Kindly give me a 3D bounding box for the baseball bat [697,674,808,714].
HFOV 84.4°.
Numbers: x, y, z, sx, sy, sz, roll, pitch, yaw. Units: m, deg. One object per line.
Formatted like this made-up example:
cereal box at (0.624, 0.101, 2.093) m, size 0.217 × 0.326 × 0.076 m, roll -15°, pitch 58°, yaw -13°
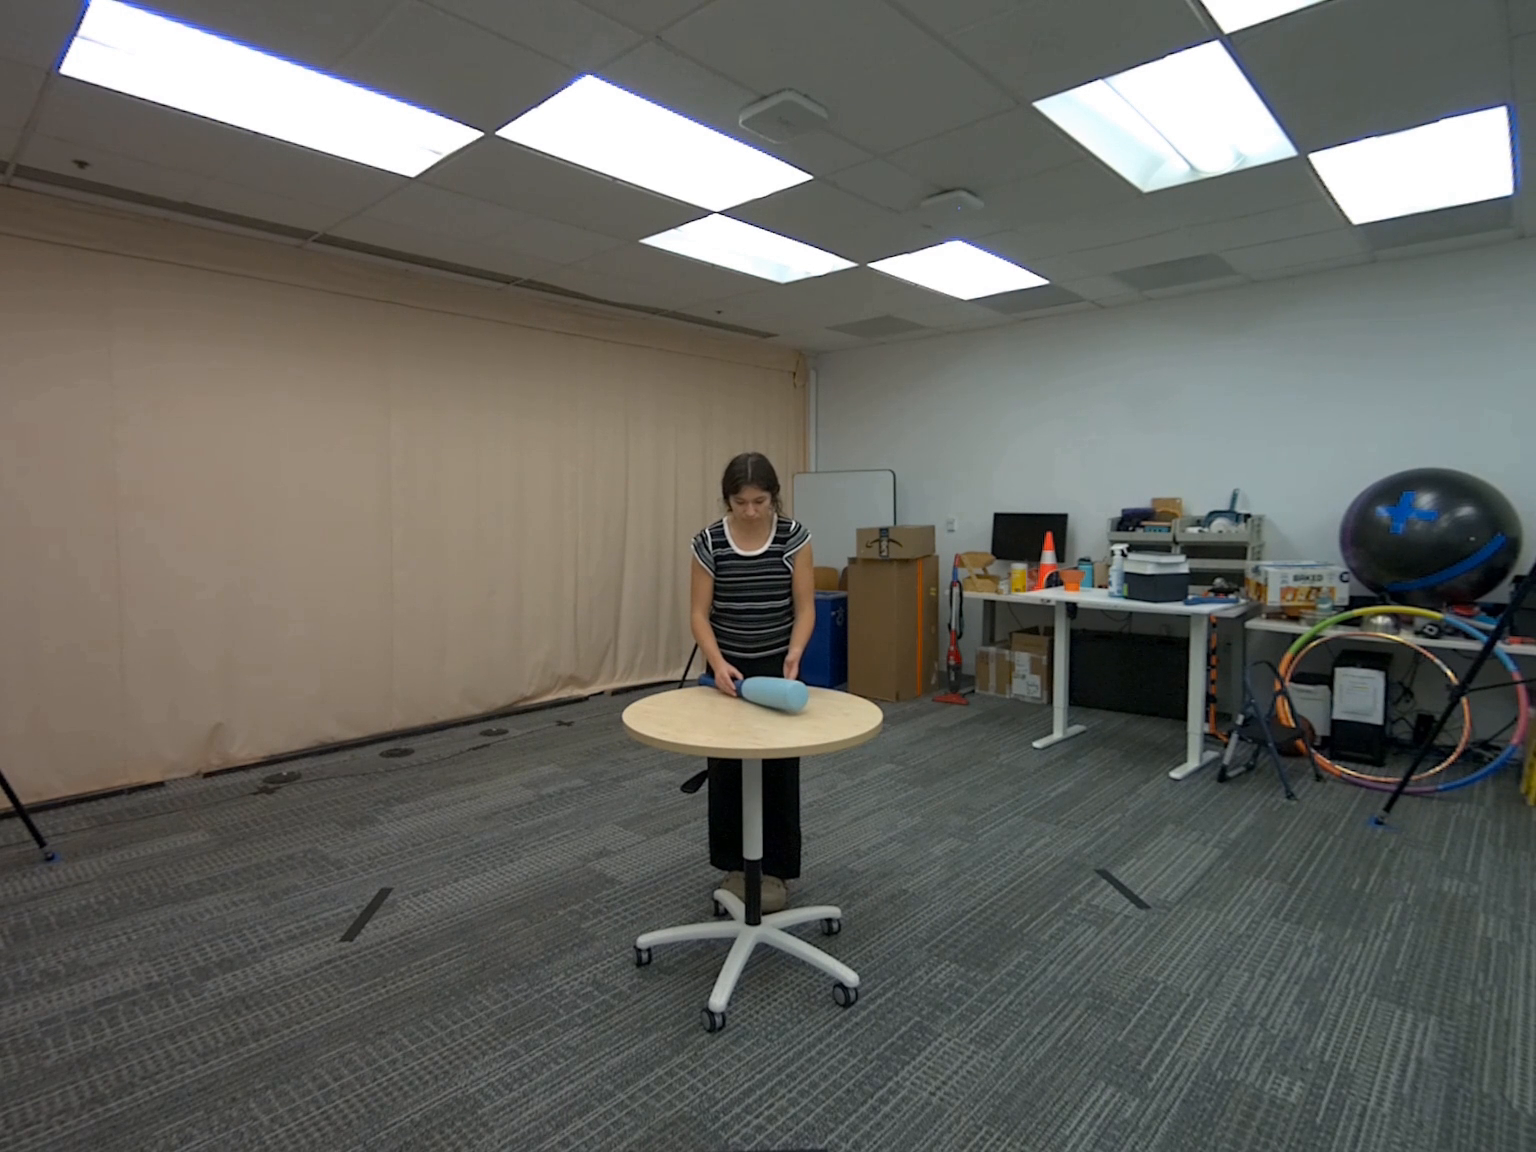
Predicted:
baseball bat at (-0.056, 0.350, 2.657) m, size 0.087 × 0.089 × 0.557 m, roll -2°, pitch 1°, yaw -30°
